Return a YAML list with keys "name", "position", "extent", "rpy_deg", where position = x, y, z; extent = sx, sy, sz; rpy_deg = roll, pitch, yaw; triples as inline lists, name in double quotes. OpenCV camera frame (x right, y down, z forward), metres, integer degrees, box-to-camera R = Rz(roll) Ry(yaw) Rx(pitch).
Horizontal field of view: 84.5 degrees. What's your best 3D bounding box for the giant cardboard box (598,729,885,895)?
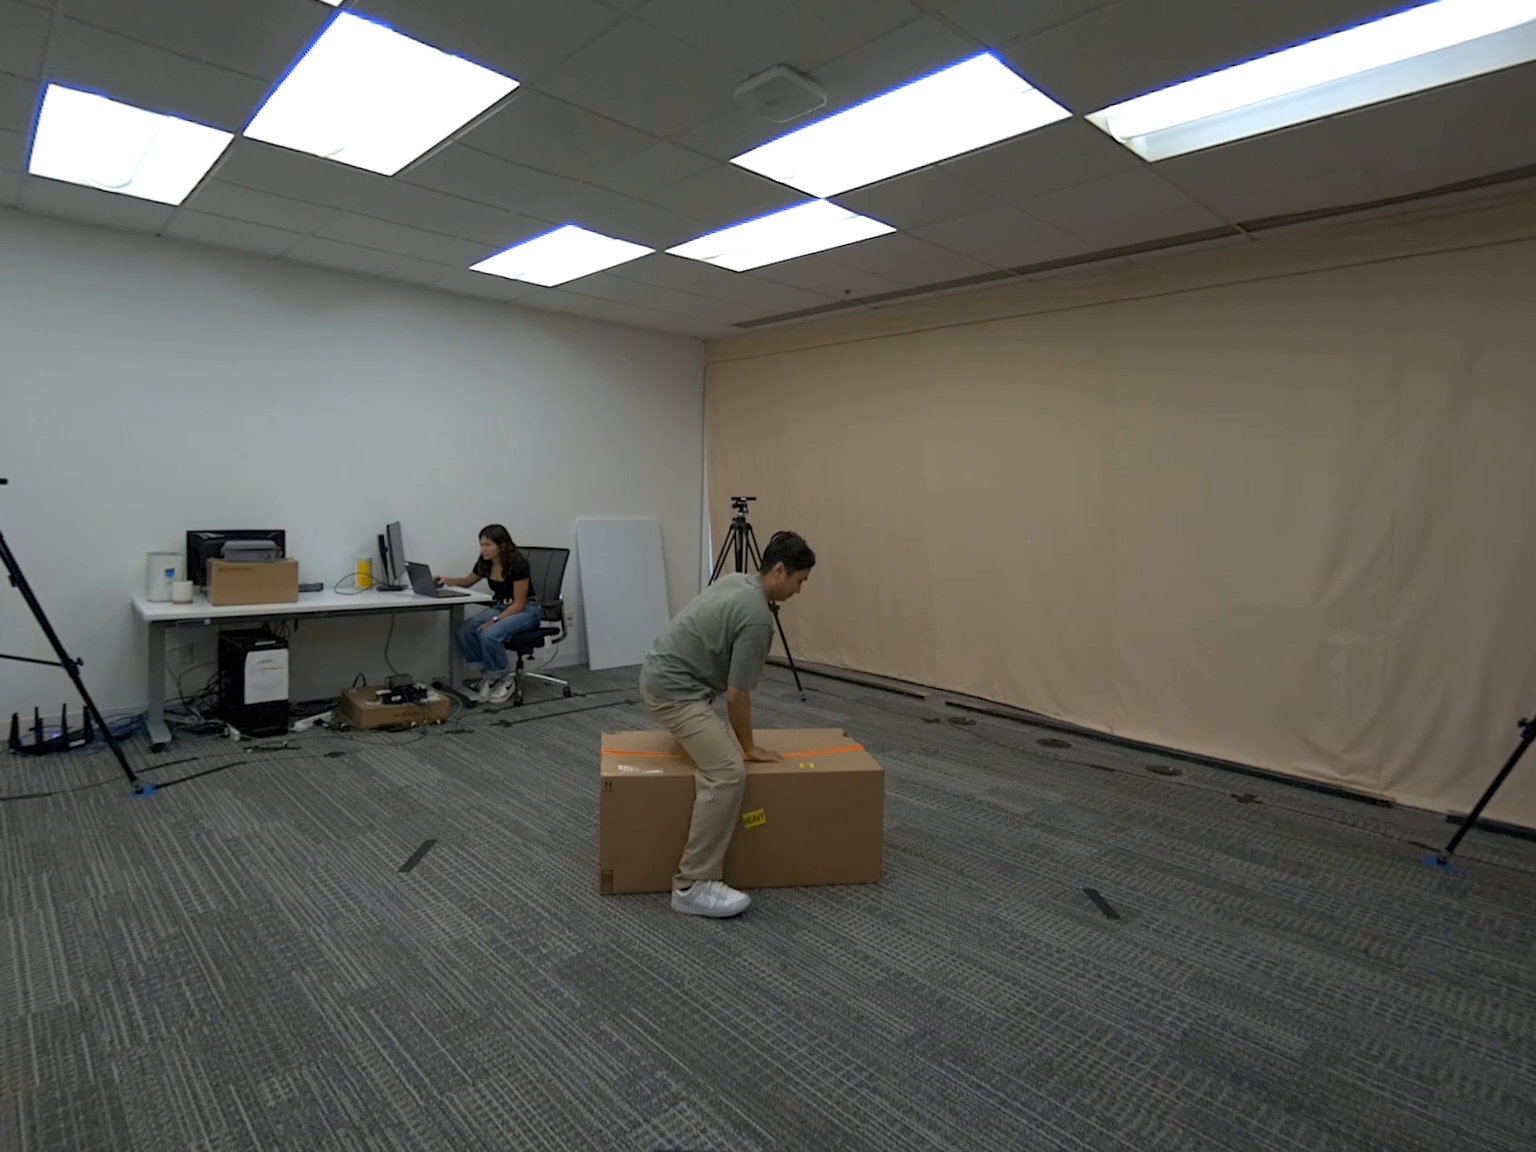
- name: "giant cardboard box"
  position: [-0.142, 0.882, 3.271]
  extent: [1.019, 0.425, 0.583]
  rpy_deg: [1, 5, -9]
